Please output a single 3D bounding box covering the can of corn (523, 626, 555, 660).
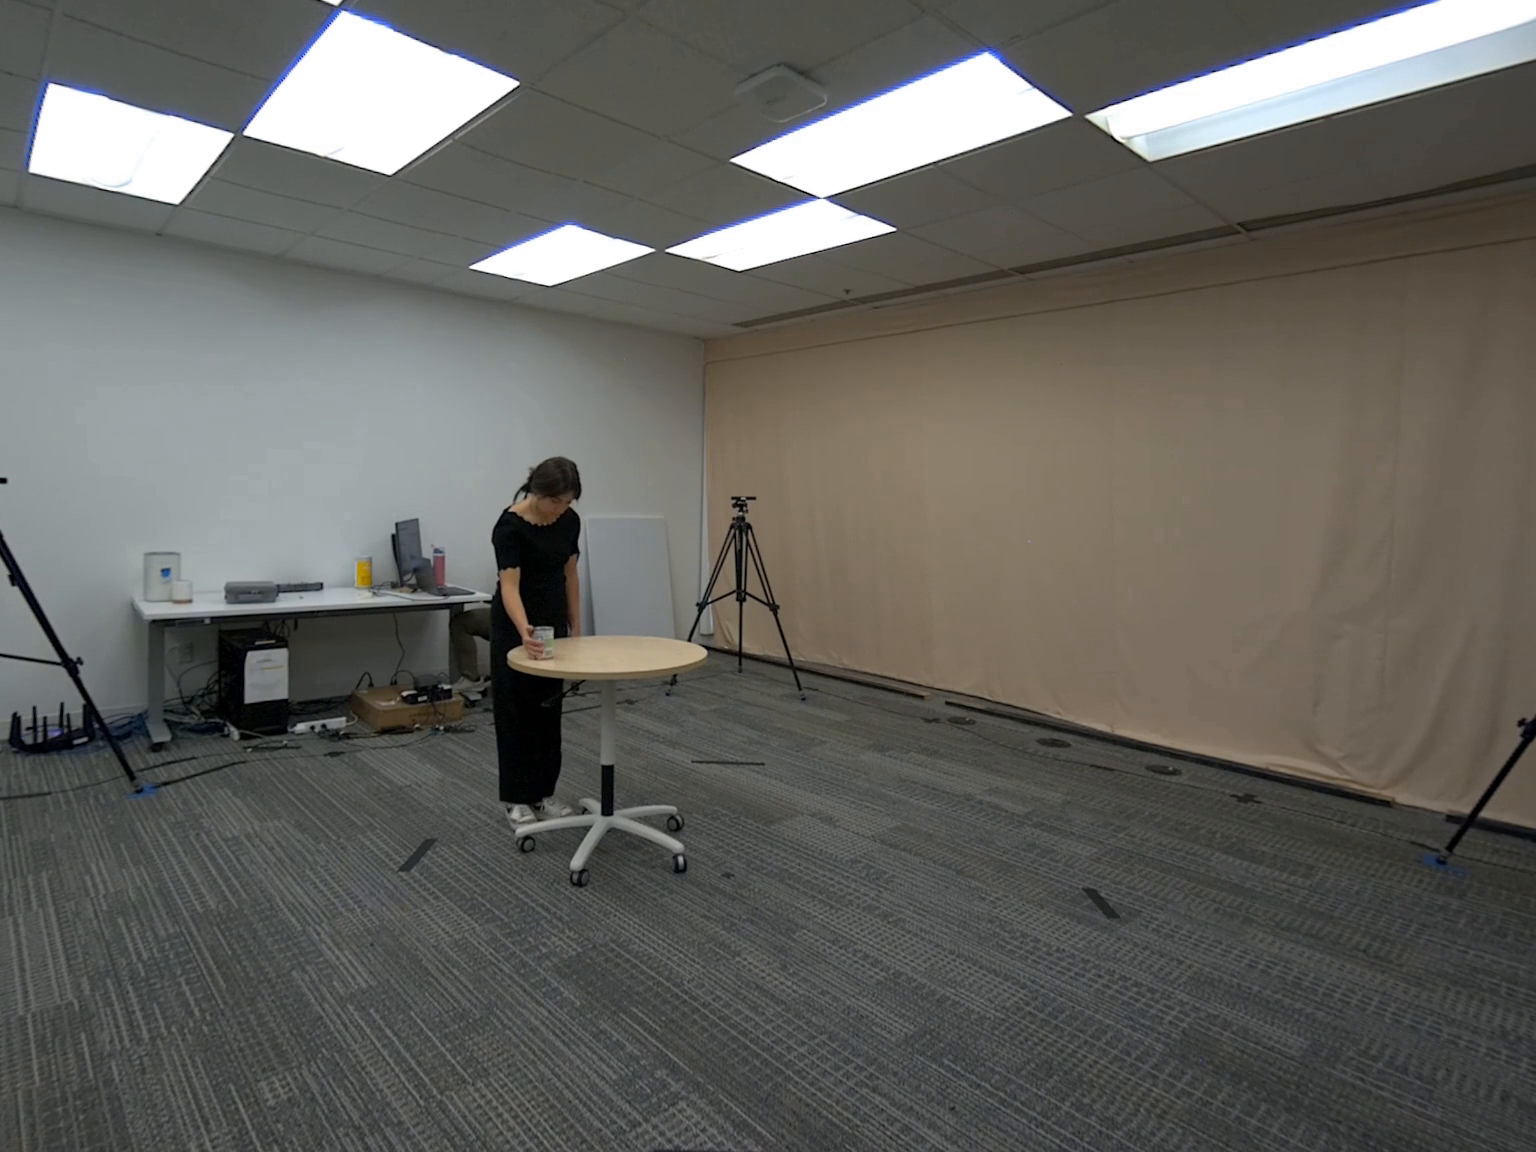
[{"bbox_3d":[-0.843,0.253,3.116,0.074,0.111,0.074,-1,3,-1],"label":"can of corn"}]
